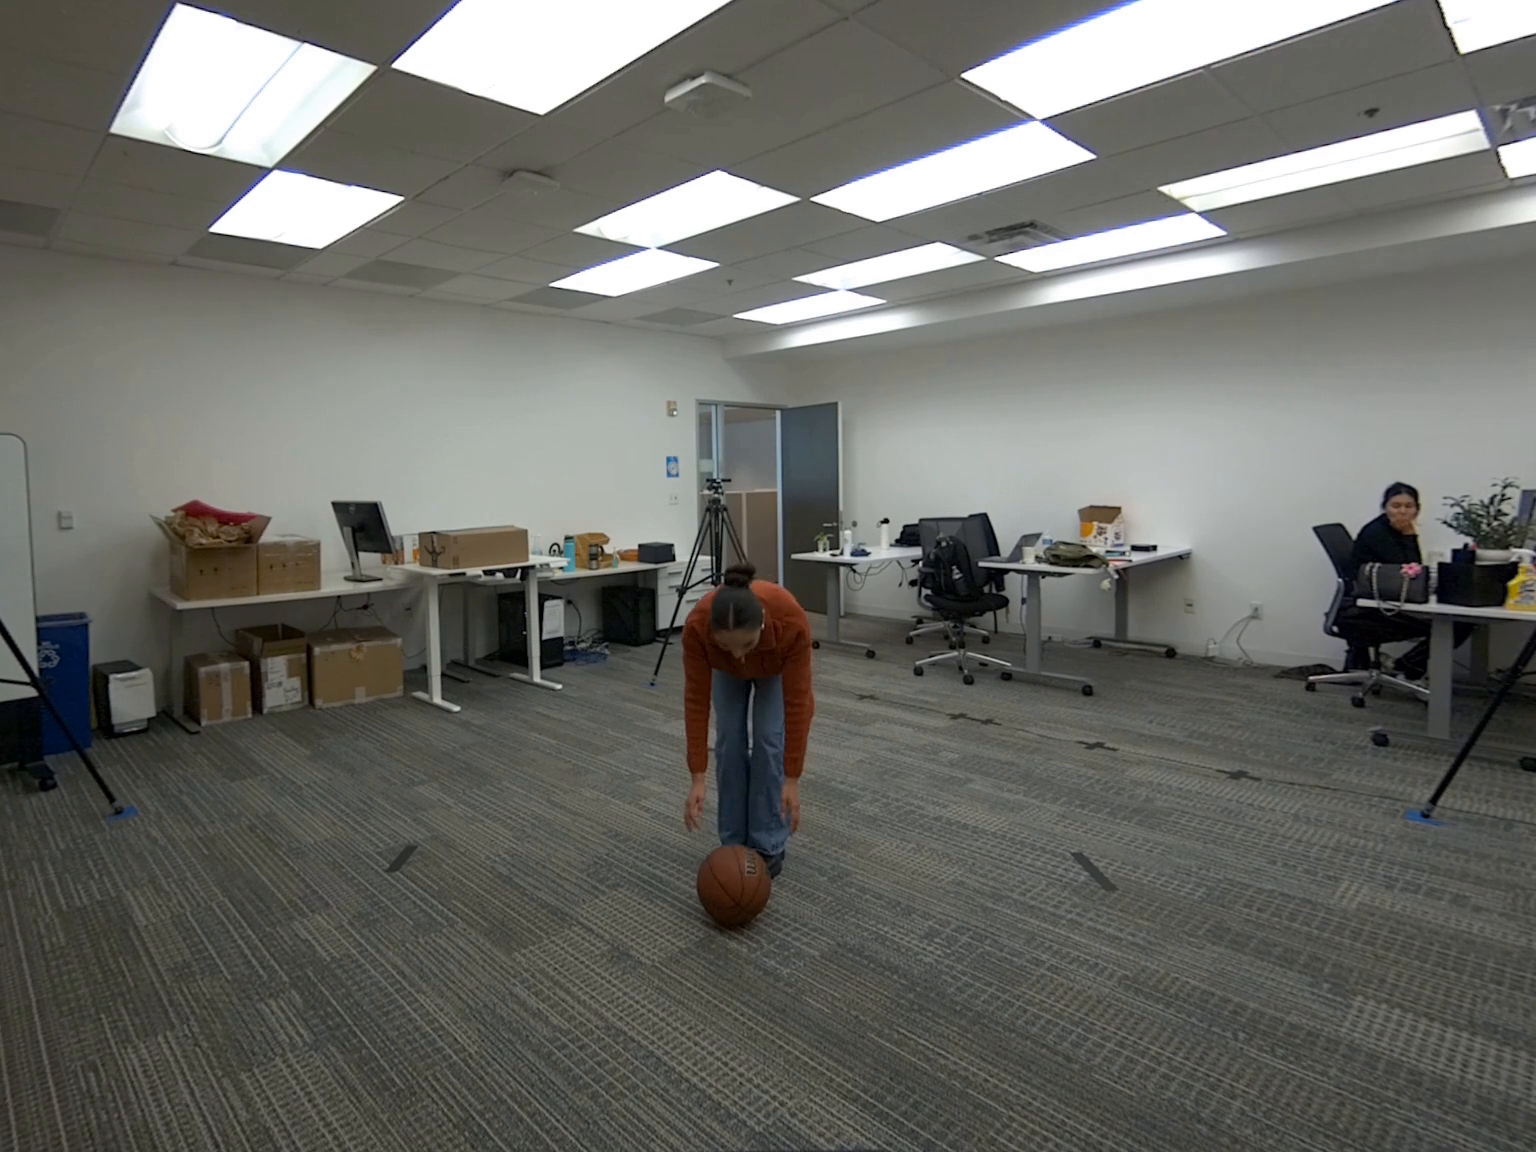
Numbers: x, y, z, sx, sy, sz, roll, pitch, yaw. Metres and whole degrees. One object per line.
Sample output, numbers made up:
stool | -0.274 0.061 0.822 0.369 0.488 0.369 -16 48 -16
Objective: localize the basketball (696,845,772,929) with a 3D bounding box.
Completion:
basketball | -0.105 0.974 2.705 0.236 0.235 0.237 -1 5 -2
